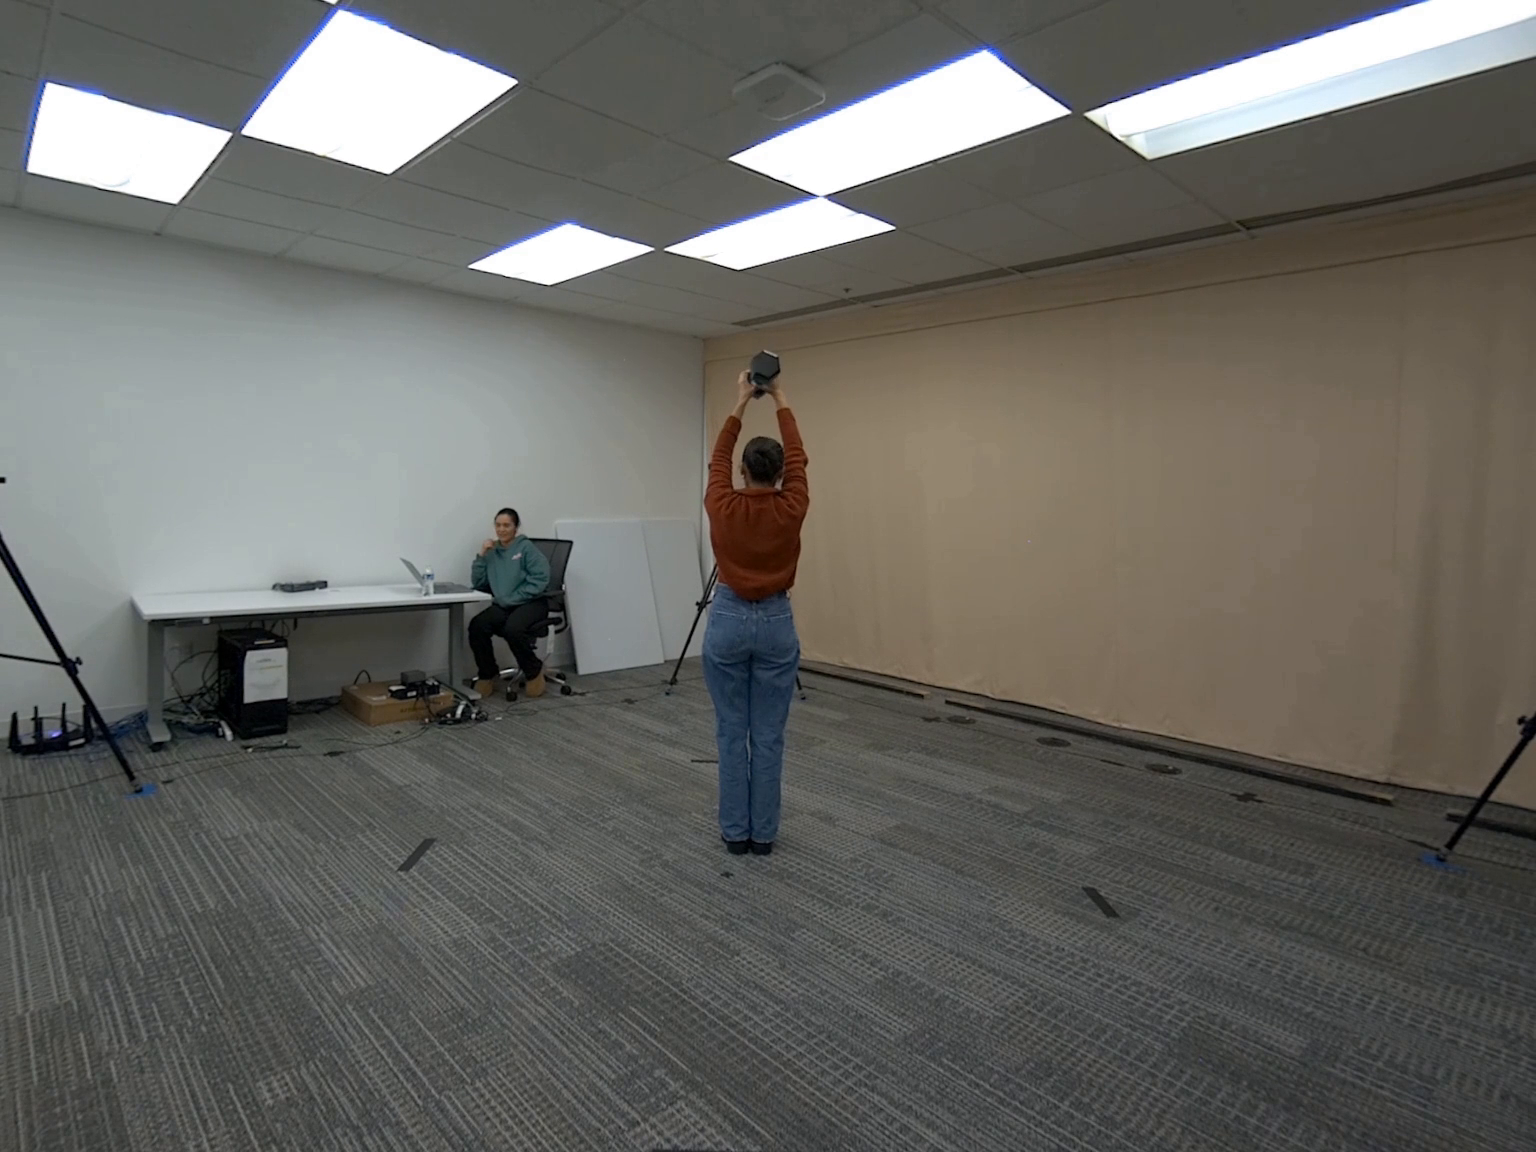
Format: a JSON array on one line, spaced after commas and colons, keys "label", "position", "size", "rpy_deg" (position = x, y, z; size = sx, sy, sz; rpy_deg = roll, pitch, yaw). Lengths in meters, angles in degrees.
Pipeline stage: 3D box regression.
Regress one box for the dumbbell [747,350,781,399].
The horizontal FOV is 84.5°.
[{"label": "dumbbell", "position": [-0.034, -0.807, 3.364], "size": [0.108, 0.123, 0.293], "rpy_deg": [-6, -5, -5]}]
